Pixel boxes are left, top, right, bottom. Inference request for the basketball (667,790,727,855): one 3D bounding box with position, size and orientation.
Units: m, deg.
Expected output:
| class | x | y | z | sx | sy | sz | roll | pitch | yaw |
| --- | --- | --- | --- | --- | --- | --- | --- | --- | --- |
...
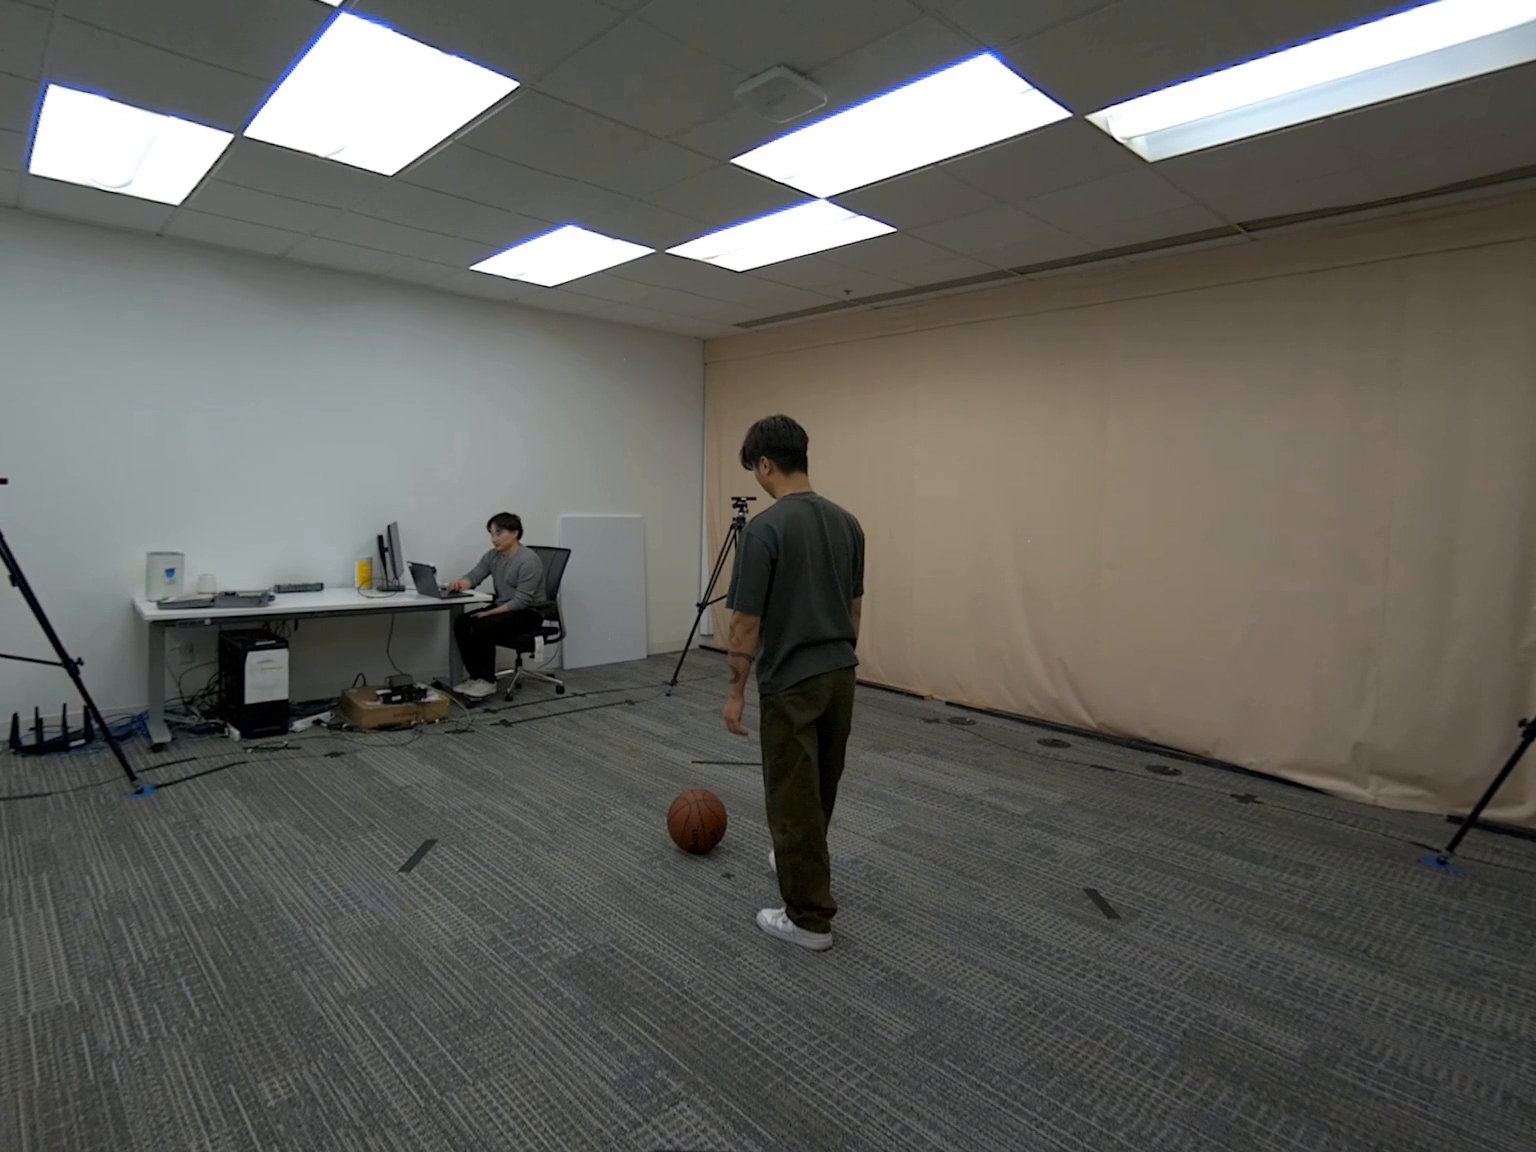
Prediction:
| class | x | y | z | sx | sy | sz | roll | pitch | yaw |
| --- | --- | --- | --- | --- | --- | --- | --- | --- | --- |
| basketball | -0.286 | 0.960 | 3.318 | 0.236 | 0.235 | 0.237 | 1 | 4 | -1 |
